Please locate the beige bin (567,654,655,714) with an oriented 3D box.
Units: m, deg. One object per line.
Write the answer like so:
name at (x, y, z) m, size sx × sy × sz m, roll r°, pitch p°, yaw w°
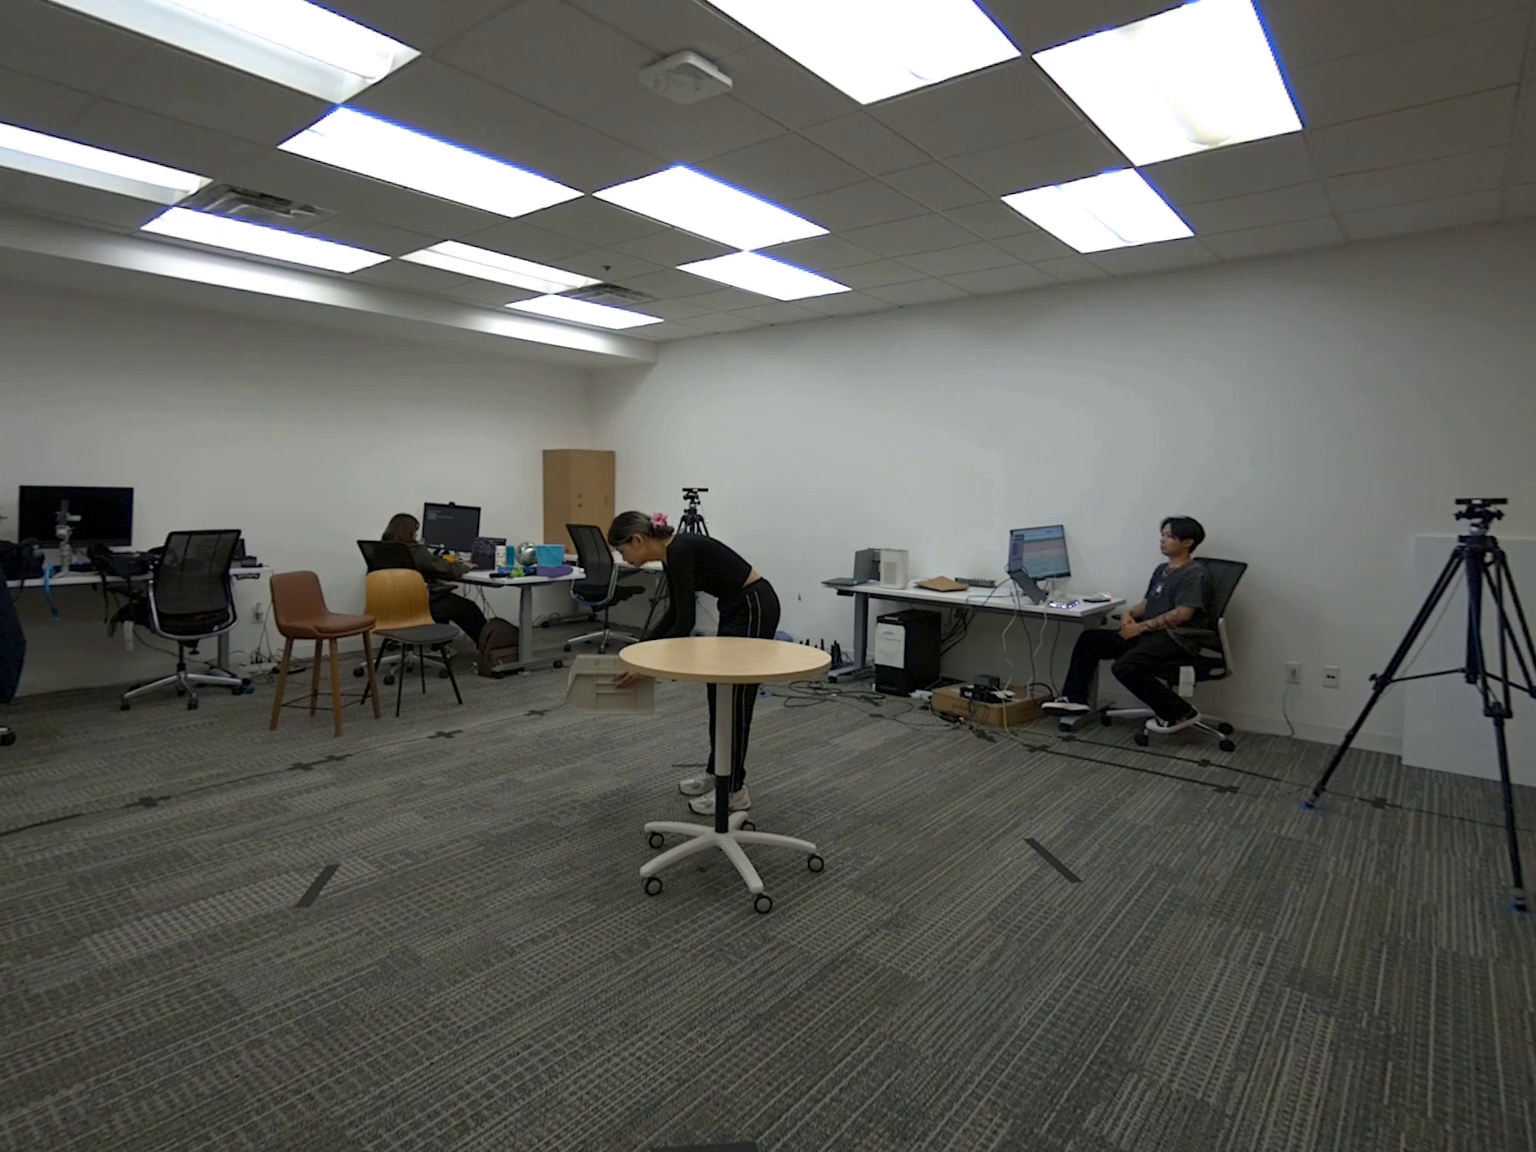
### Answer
beige bin at (-0.702, 0.472, 3.733) m, size 0.373 × 0.188 × 0.428 m, roll 2°, pitch 4°, yaw -10°
